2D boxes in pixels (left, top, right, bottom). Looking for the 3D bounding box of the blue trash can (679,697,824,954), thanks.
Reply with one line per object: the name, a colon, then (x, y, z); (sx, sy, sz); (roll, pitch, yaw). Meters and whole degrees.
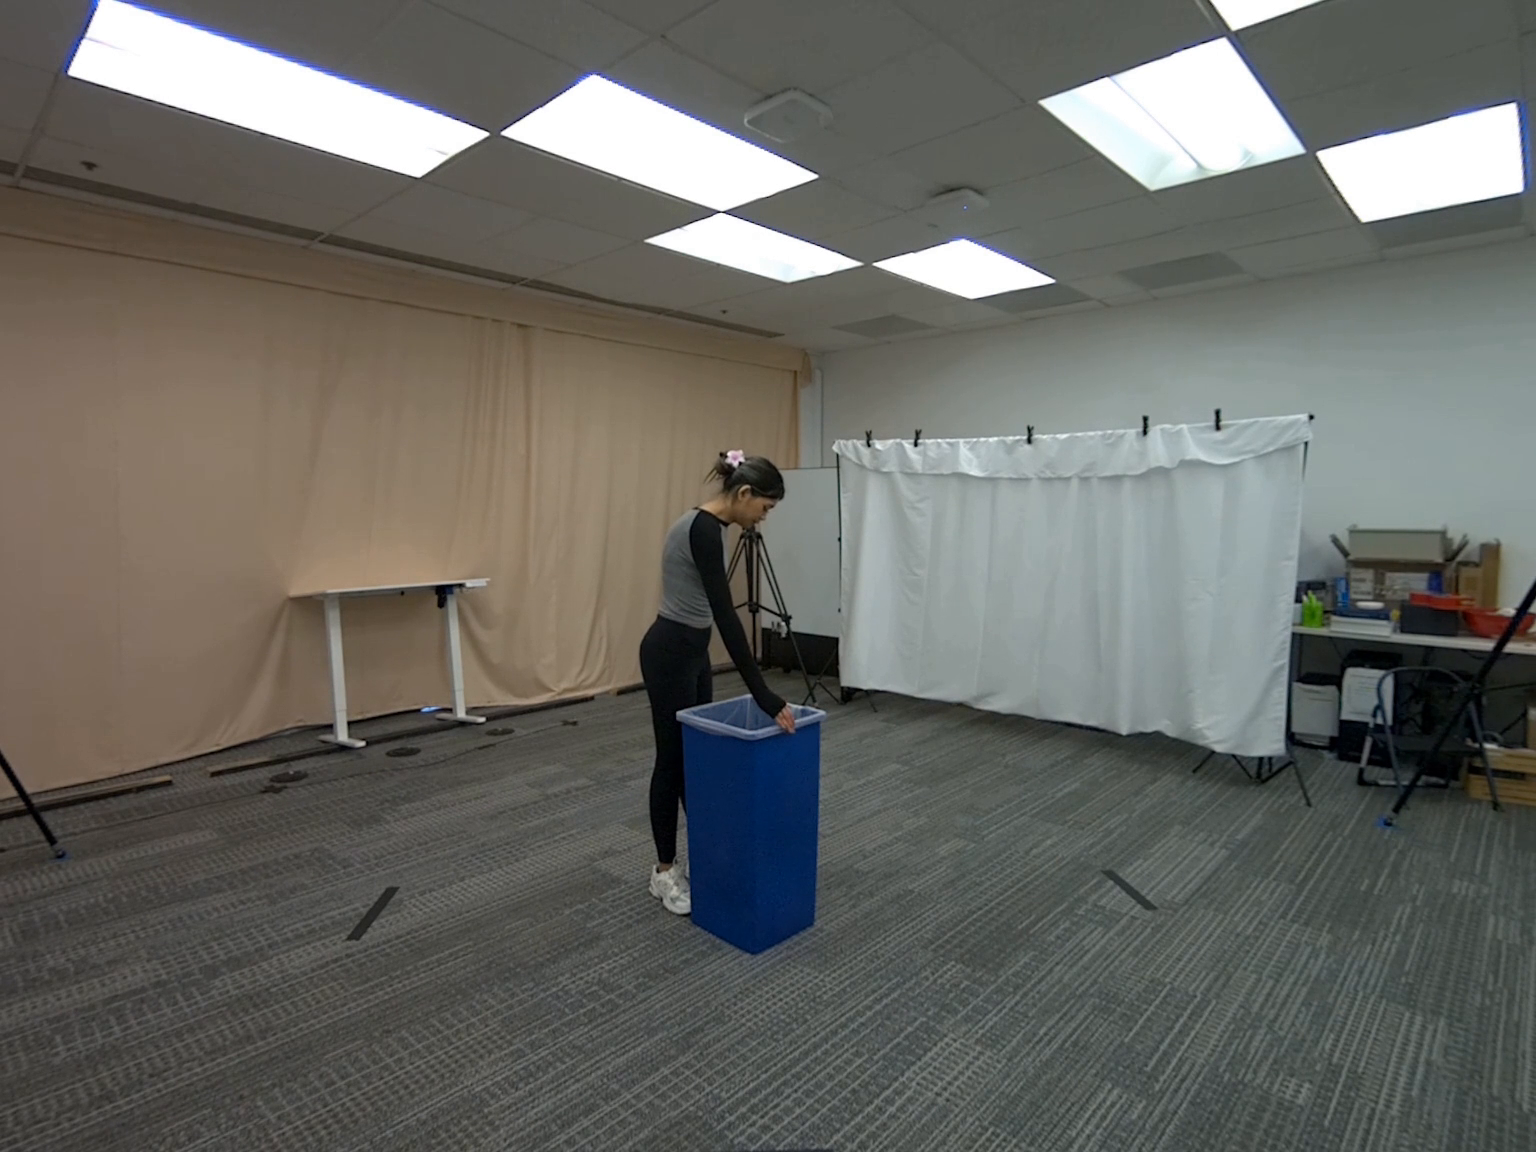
blue trash can: (-0.051, 0.803, 2.783); (0.391, 0.712, 0.362); (3, 4, 44)
